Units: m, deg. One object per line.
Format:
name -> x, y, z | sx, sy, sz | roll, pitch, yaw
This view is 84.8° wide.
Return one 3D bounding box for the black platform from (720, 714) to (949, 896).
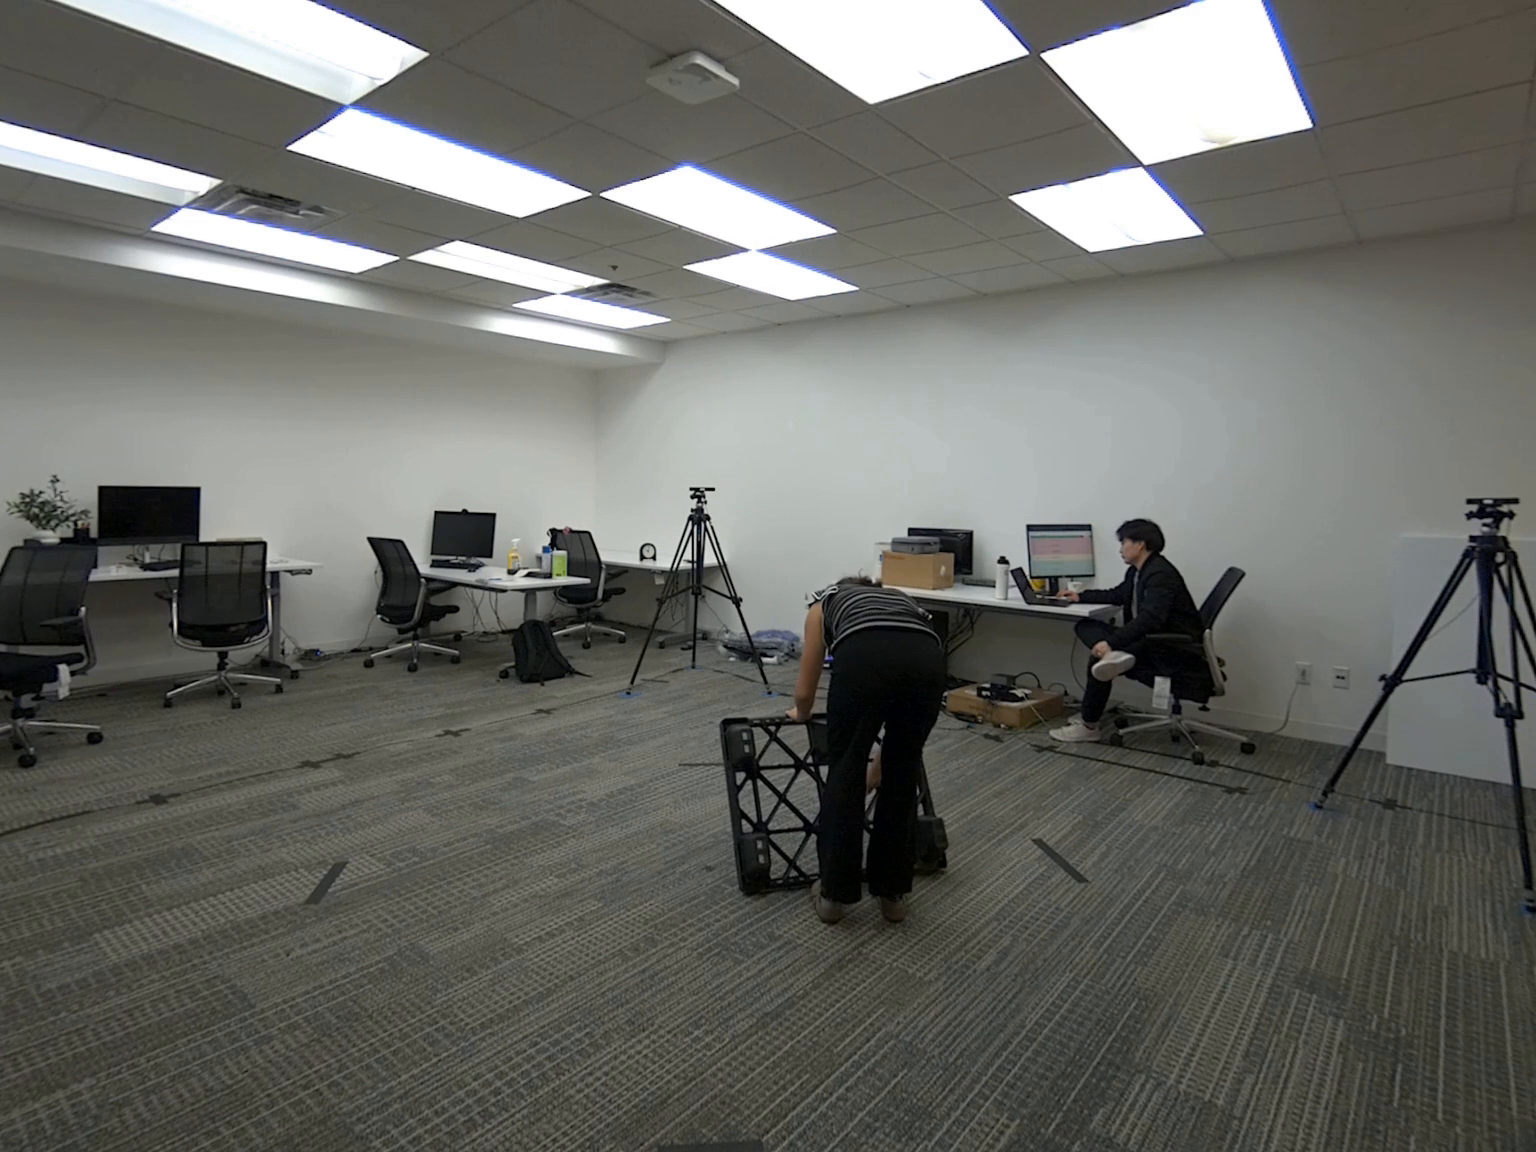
black platform -> 0.246, 0.779, 3.115 | 0.791, 0.621, 0.142 | -1, -26, -17
